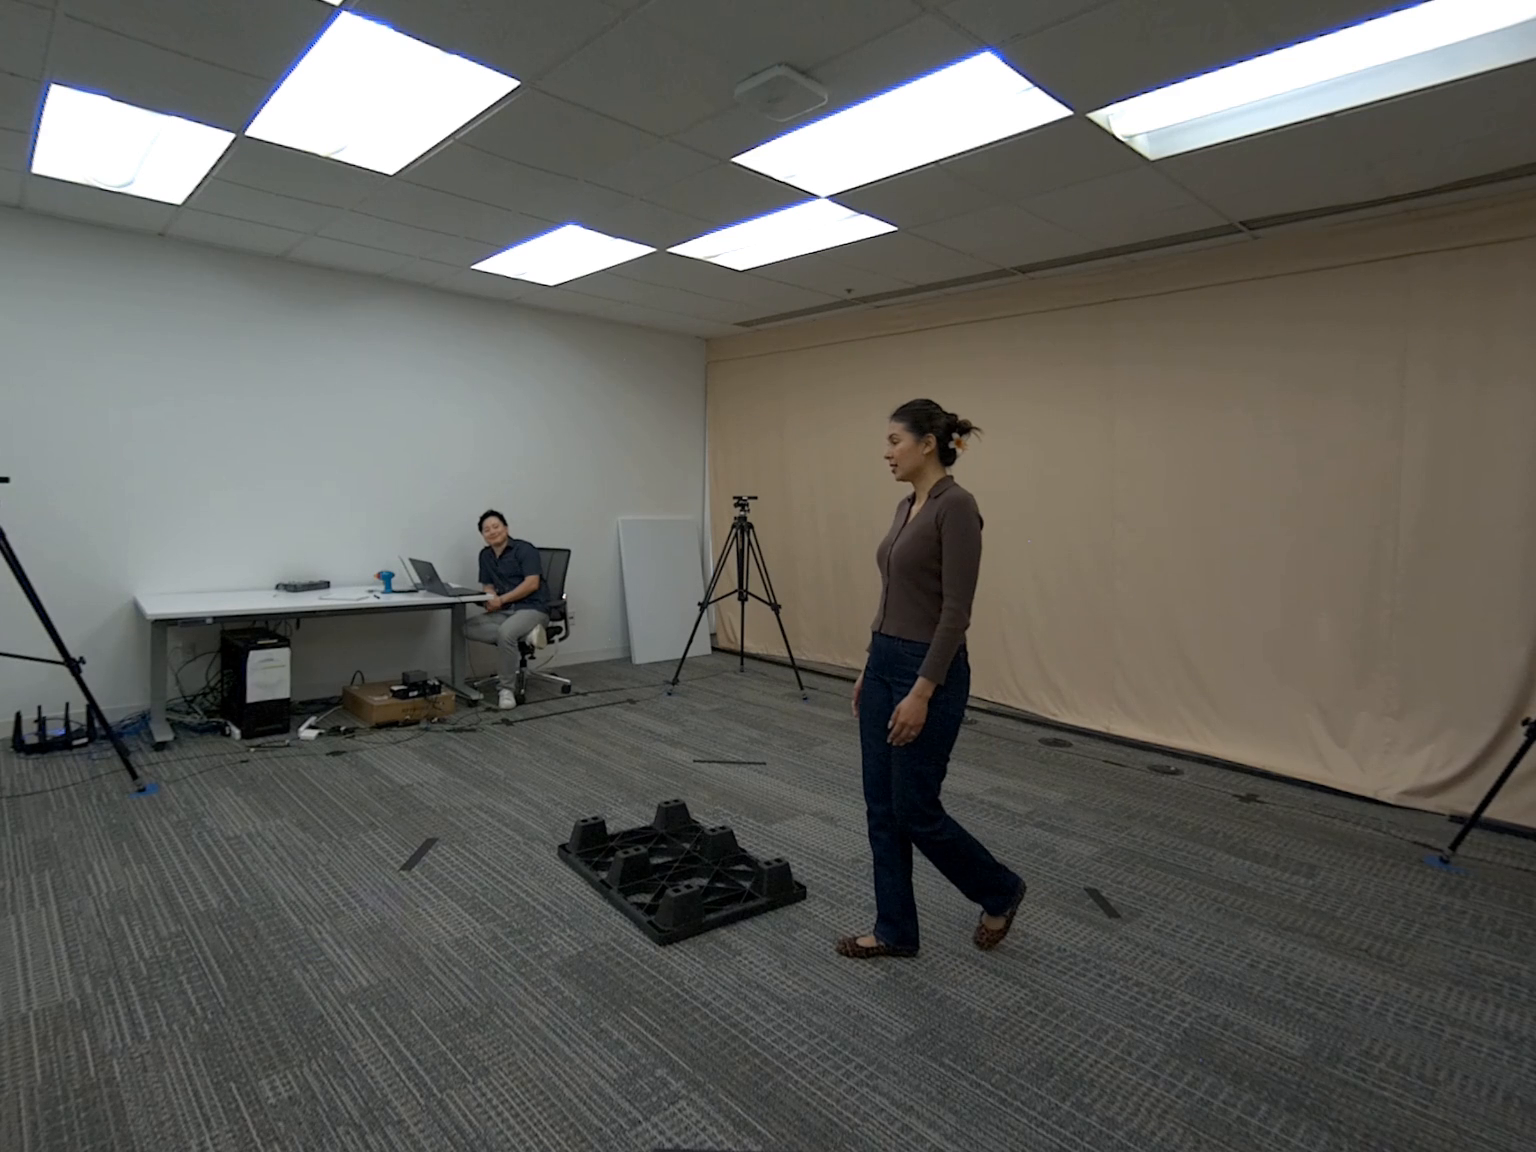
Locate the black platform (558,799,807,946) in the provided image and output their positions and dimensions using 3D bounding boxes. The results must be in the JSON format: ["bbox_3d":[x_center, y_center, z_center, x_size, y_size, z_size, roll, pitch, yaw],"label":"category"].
[{"bbox_3d":[-0.335,1.033,3.080,0.592,0.143,0.826,-3,7,-37],"label":"black platform"}]
